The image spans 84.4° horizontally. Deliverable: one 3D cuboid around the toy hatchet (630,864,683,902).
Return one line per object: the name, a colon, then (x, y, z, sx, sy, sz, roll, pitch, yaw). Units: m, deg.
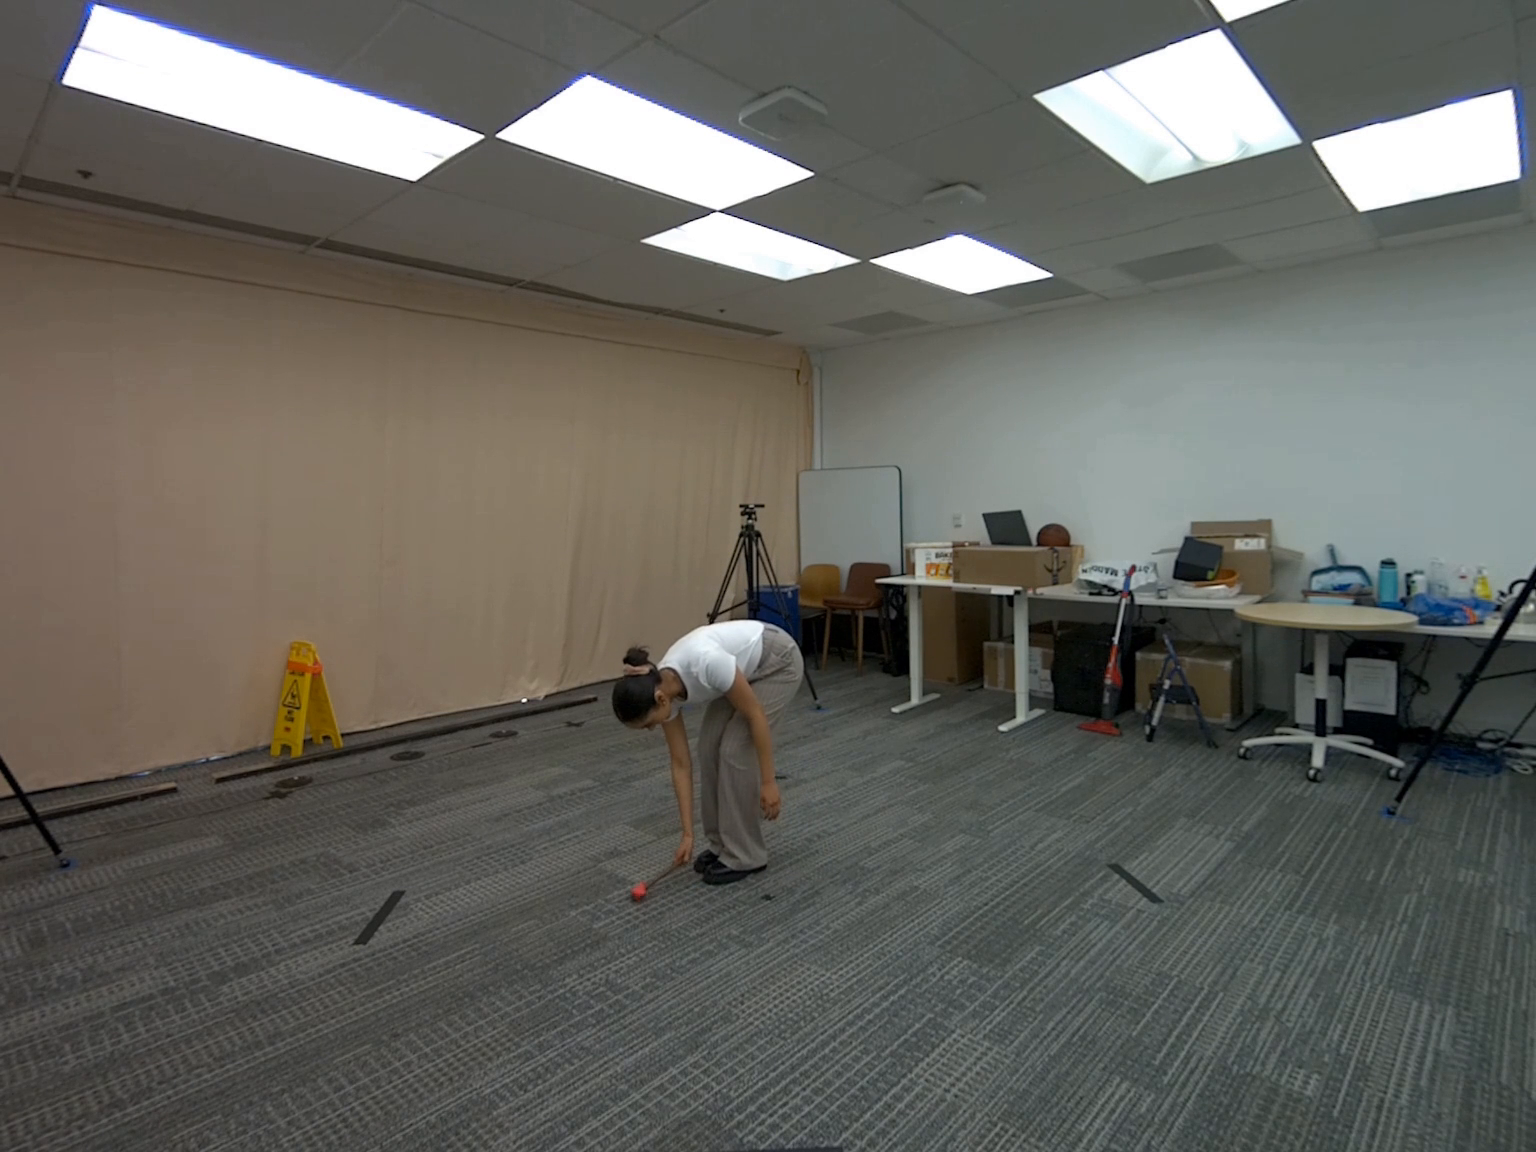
toy hatchet: (-0.406, 1.076, 3.058, 0.134, 0.030, 0.263, -24, -3, 40)
